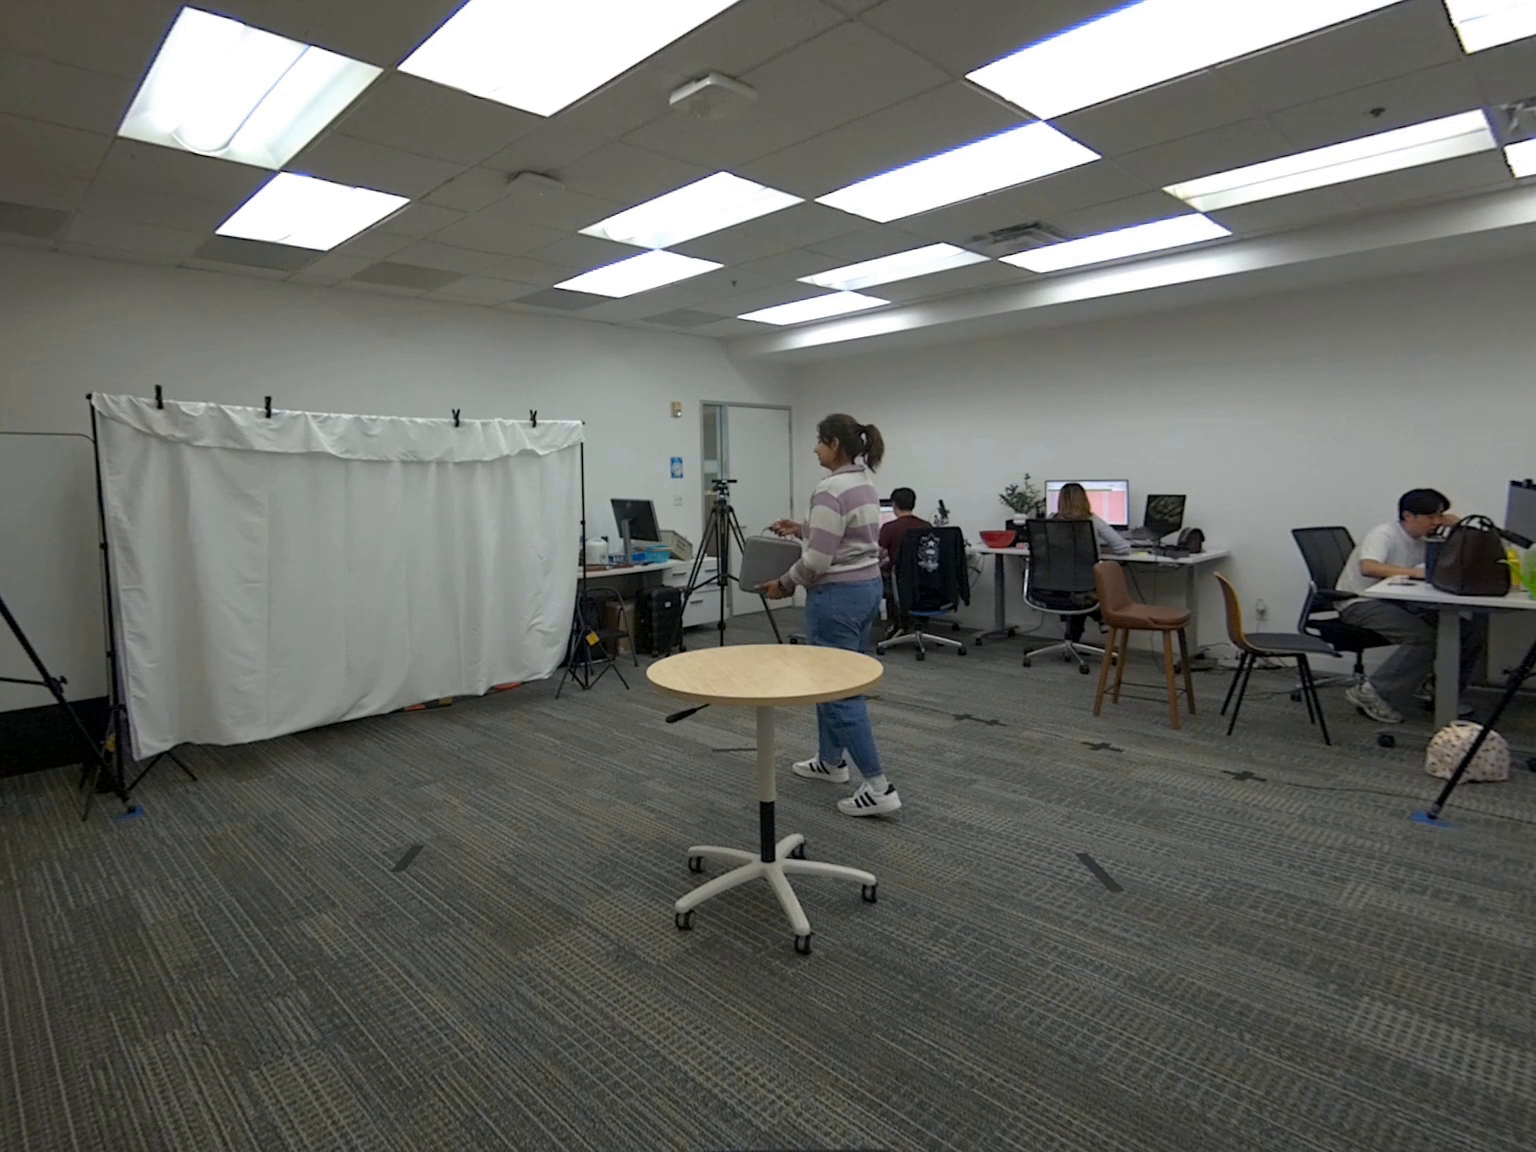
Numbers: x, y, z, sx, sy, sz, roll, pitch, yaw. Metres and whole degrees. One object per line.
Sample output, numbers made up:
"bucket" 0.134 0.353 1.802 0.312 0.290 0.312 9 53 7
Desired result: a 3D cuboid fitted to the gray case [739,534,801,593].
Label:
"gray case" 0.014 -0.052 3.818 0.255 0.259 0.106 8 7 -7
